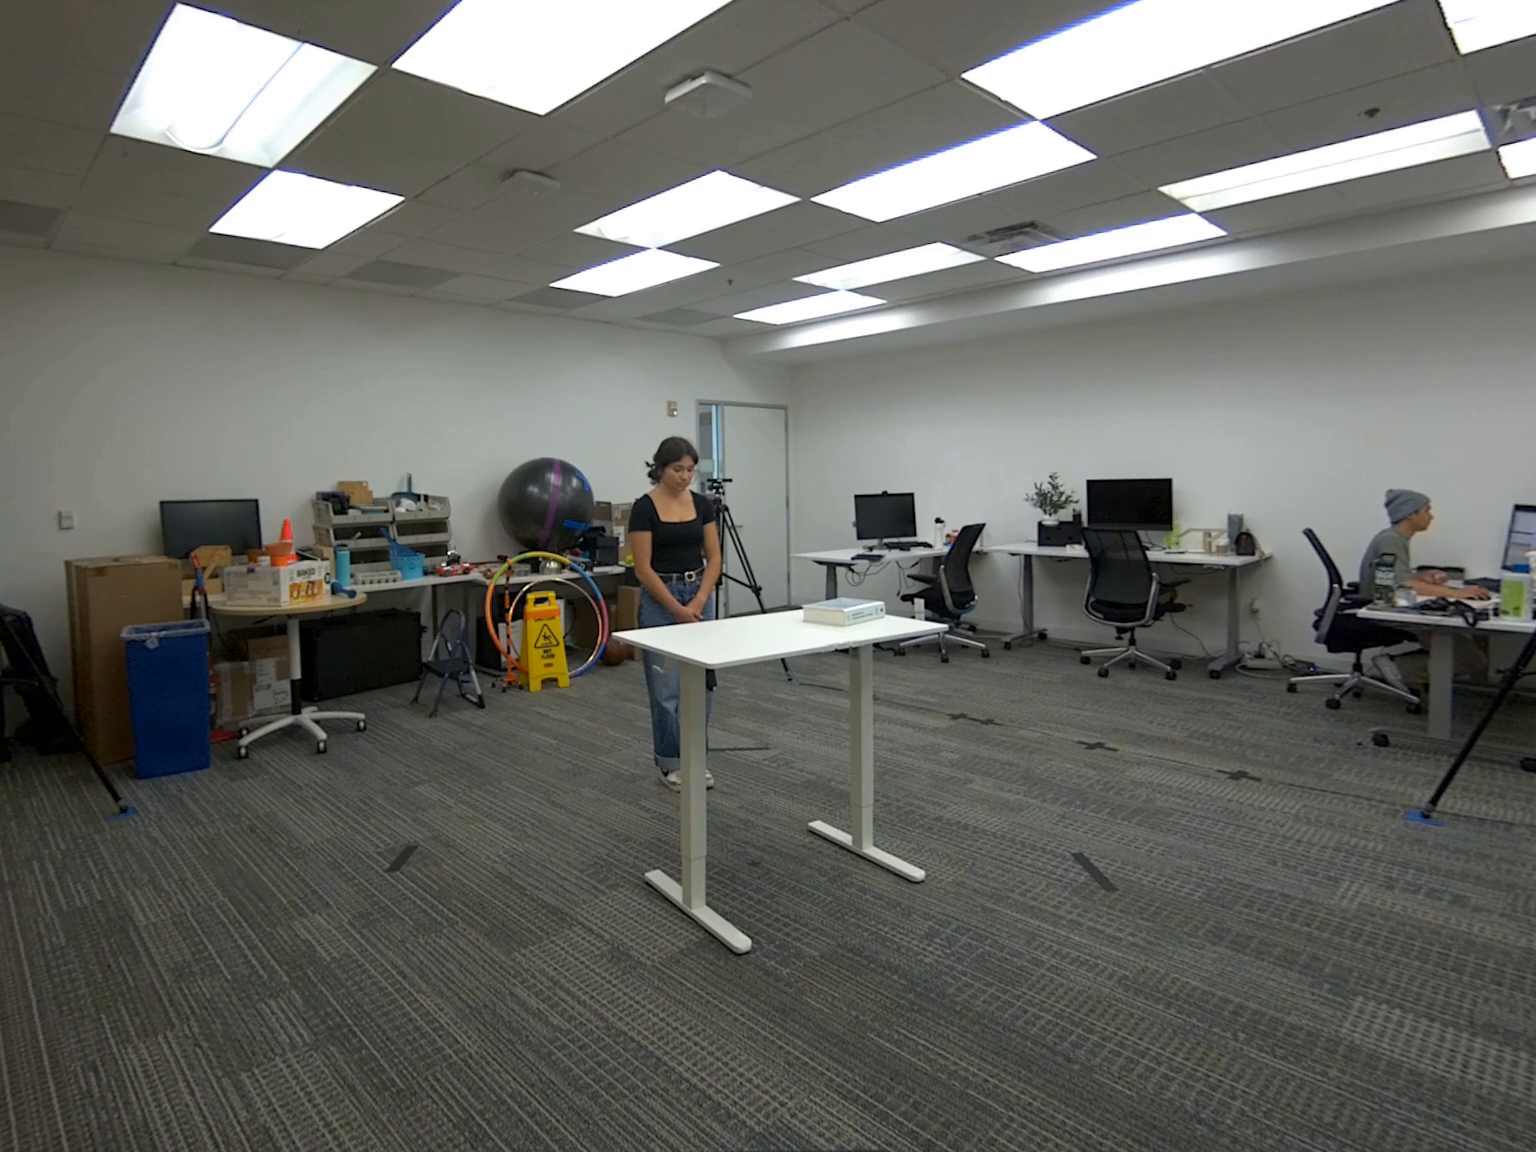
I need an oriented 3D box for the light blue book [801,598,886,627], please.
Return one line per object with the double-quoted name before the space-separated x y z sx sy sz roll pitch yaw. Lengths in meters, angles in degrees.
"light blue book" 0.284 0.131 3.107 0.197 0.059 0.254 5 8 40
